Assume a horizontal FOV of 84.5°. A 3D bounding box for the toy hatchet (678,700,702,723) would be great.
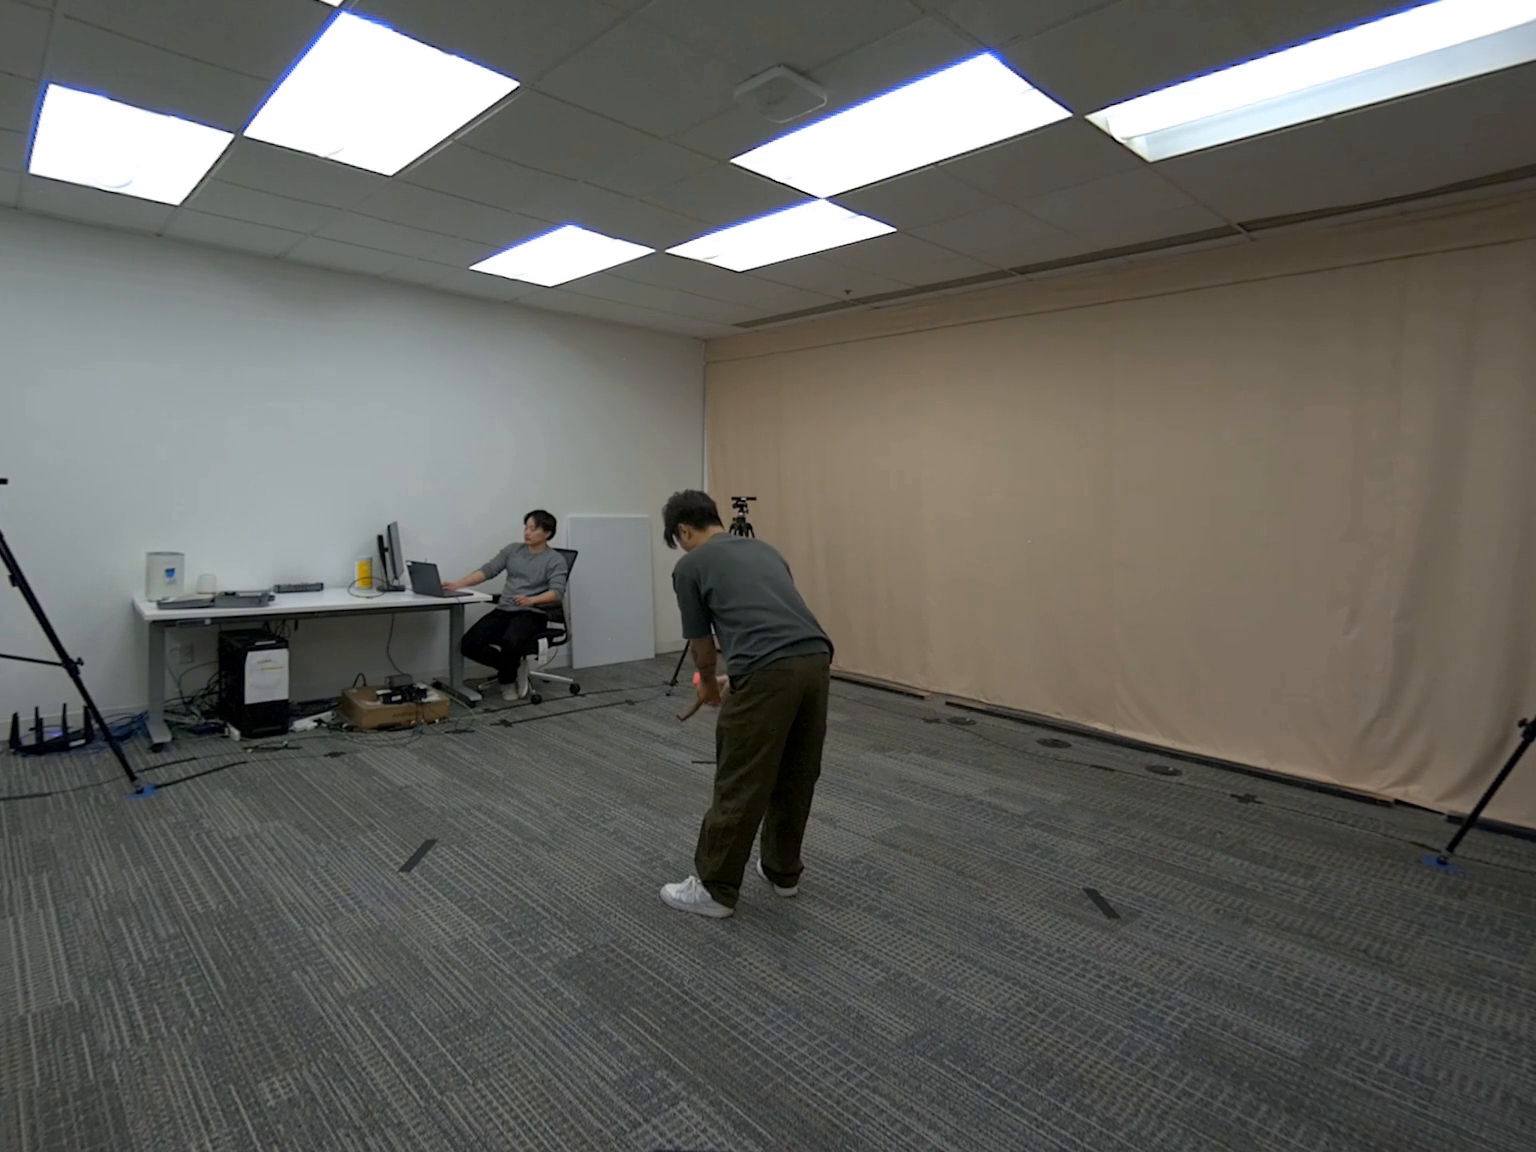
[{"bbox_3d":[-0.294,0.453,3.216,0.134,0.029,0.268,35,42,21],"label":"toy hatchet"}]
